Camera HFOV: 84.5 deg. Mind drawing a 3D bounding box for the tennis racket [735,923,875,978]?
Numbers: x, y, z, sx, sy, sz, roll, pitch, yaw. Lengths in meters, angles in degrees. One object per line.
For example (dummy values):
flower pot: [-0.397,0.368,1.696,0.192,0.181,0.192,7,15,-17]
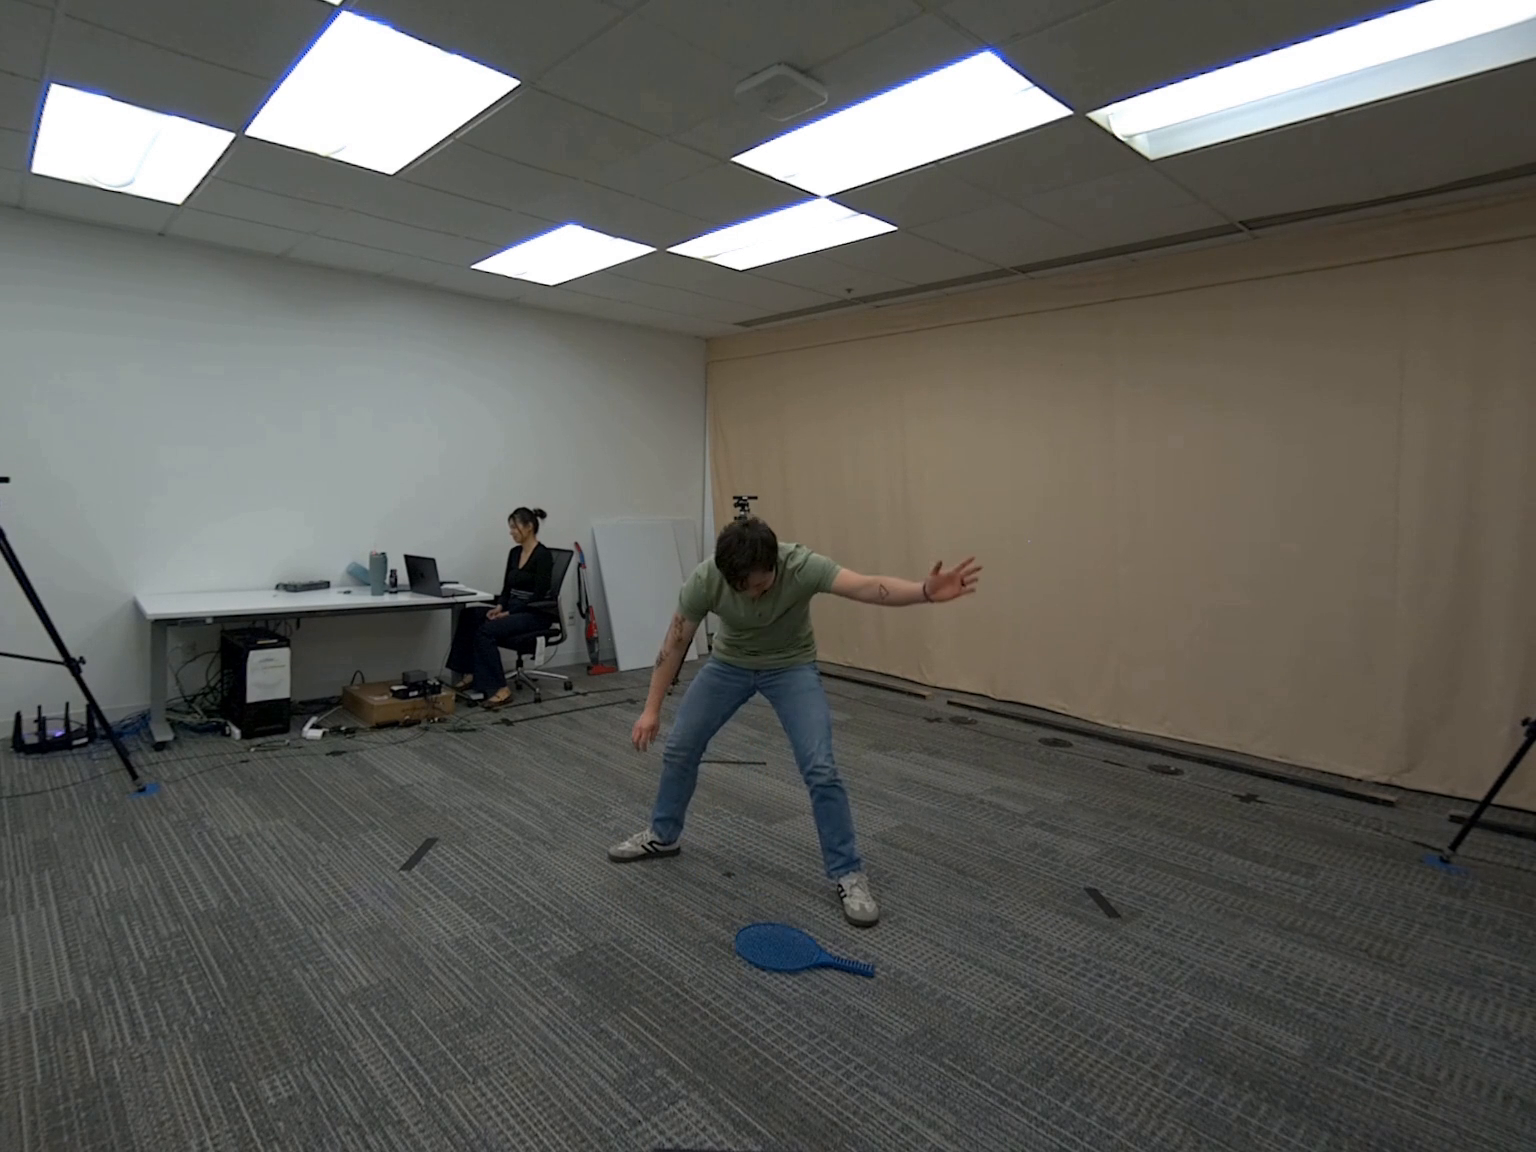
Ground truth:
tennis racket: [0.088,1.139,2.537,0.440,0.031,0.211,4,11,22]
